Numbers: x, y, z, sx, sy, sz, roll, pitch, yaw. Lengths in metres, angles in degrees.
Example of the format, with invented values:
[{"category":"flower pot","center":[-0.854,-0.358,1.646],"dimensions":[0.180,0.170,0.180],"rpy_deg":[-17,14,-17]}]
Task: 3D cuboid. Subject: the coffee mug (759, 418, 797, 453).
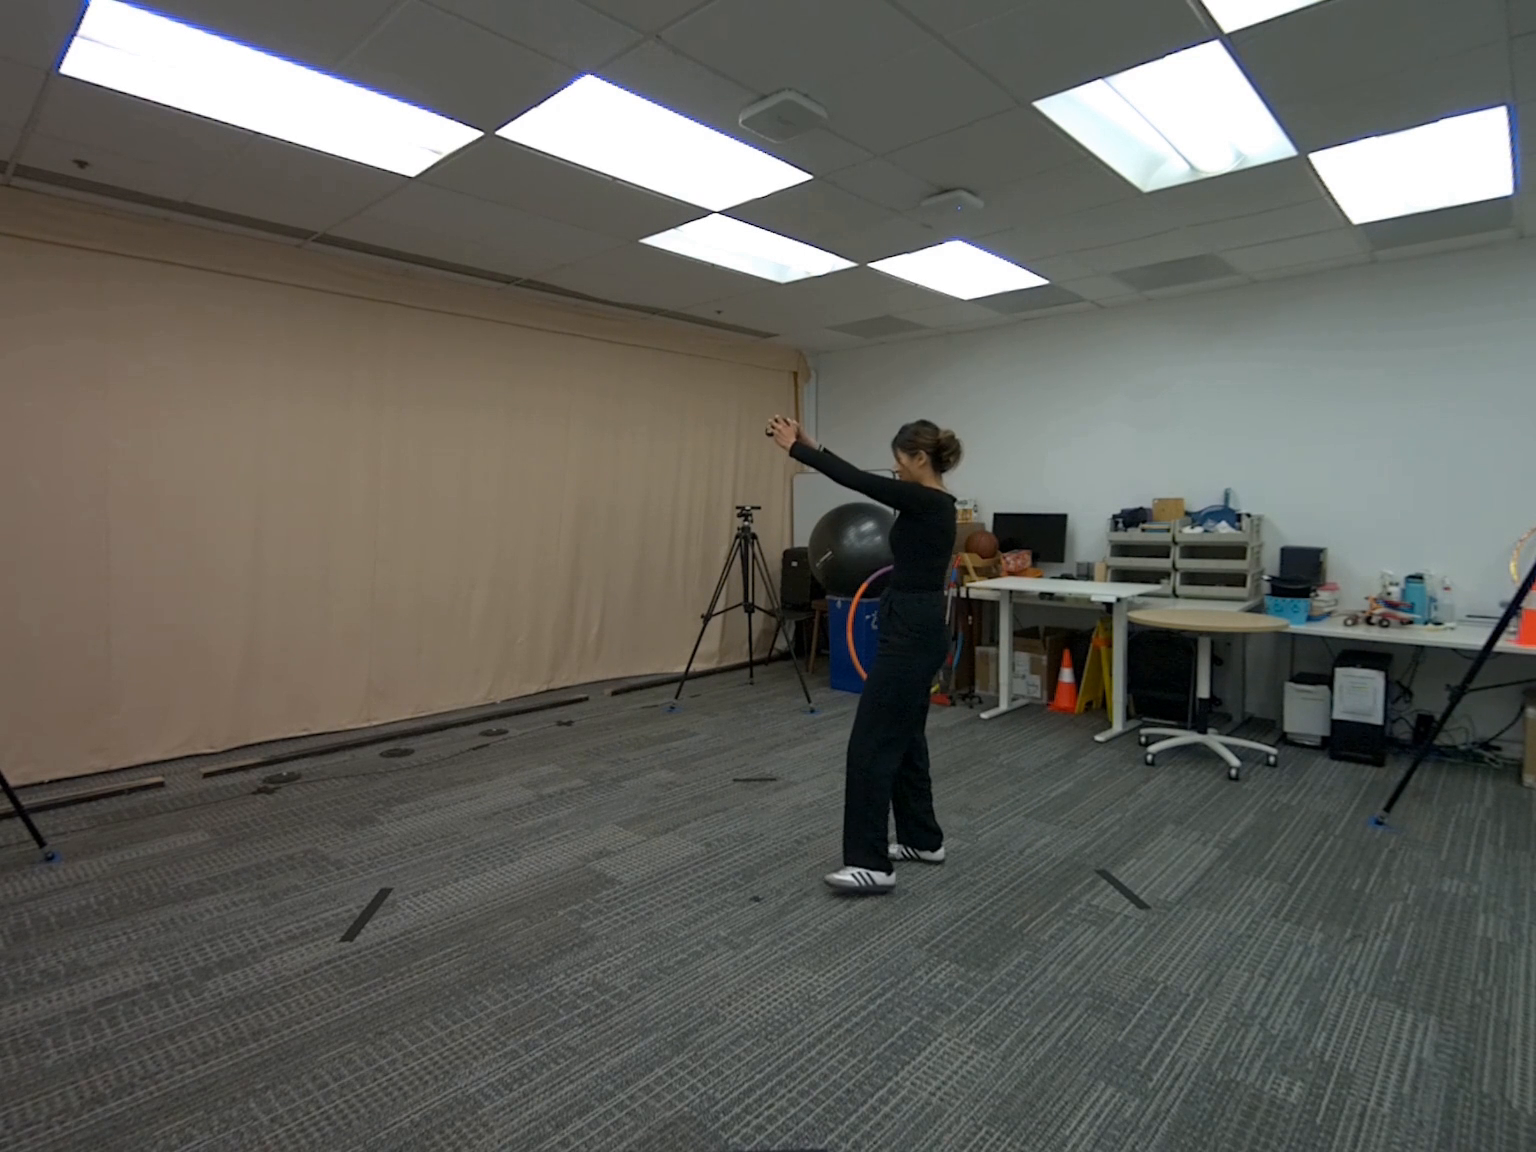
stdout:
[{"category":"coffee mug","center":[0.055,-0.561,3.360],"dimensions":[0.123,0.087,0.202],"rpy_deg":[-22,5,12]}]
